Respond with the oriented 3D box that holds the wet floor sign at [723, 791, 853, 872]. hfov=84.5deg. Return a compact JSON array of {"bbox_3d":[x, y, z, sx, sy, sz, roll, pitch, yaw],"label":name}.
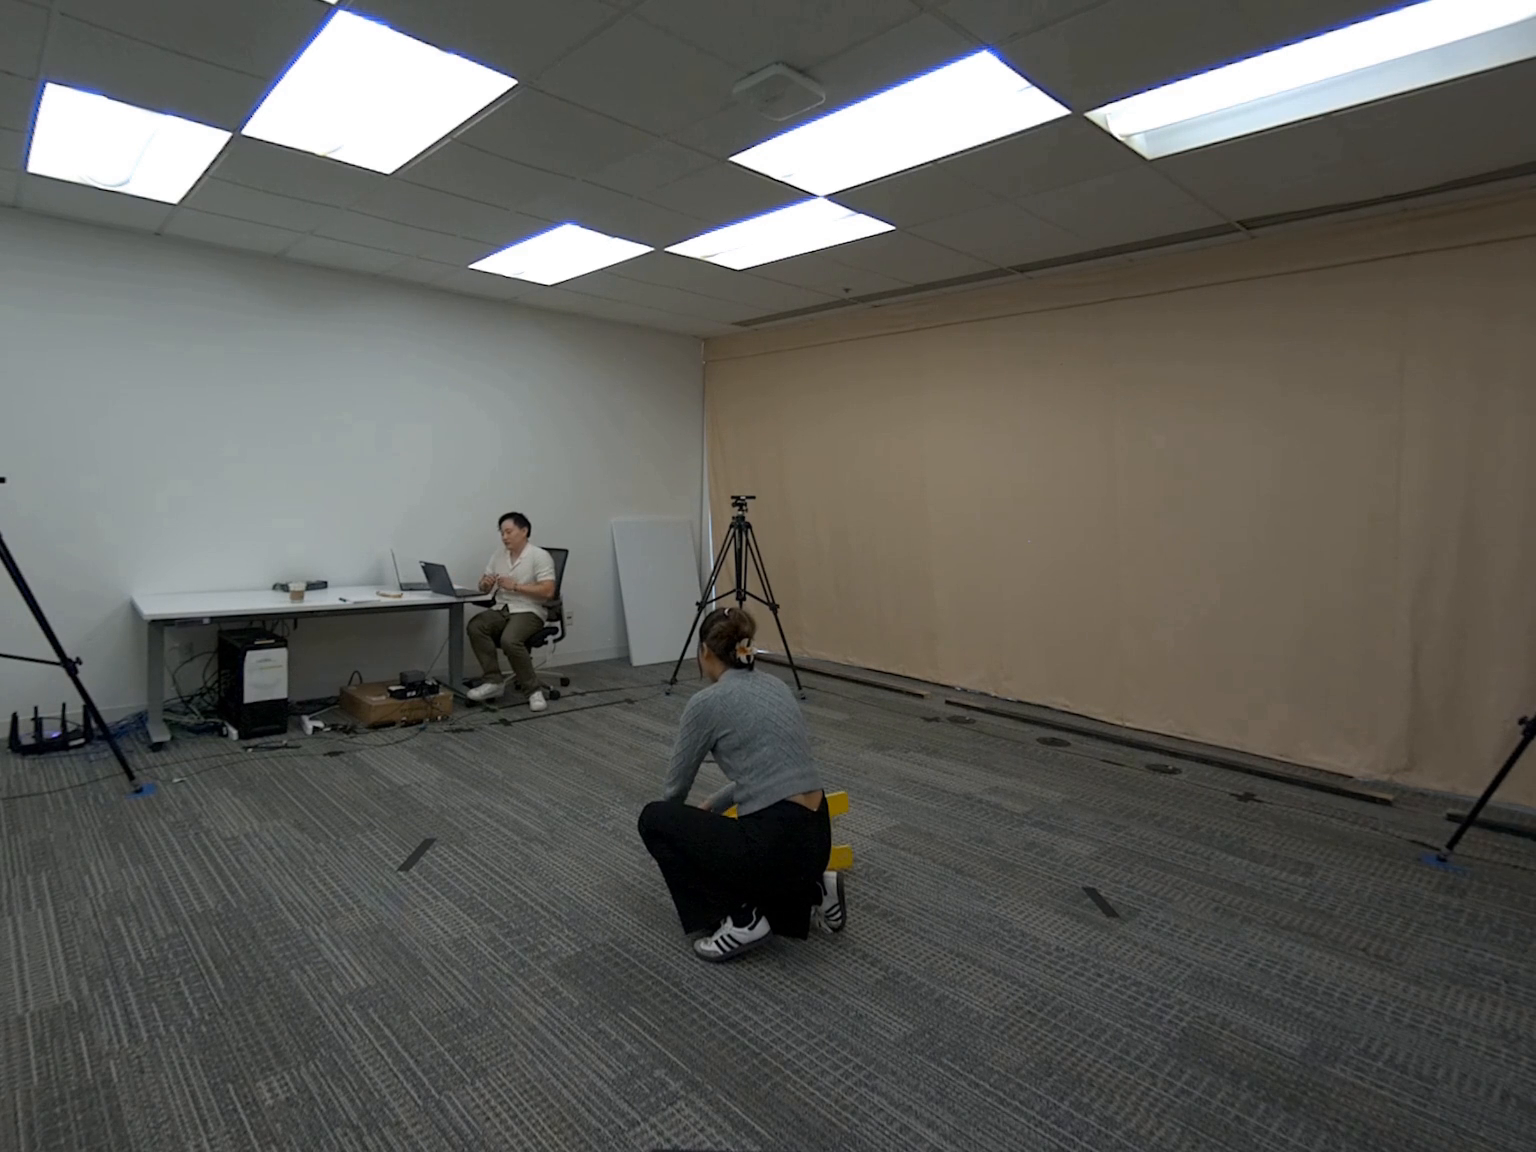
[{"bbox_3d":[-0.046,0.978,3.144,0.634,0.282,0.295,-6,2,-28],"label":"wet floor sign"}]
